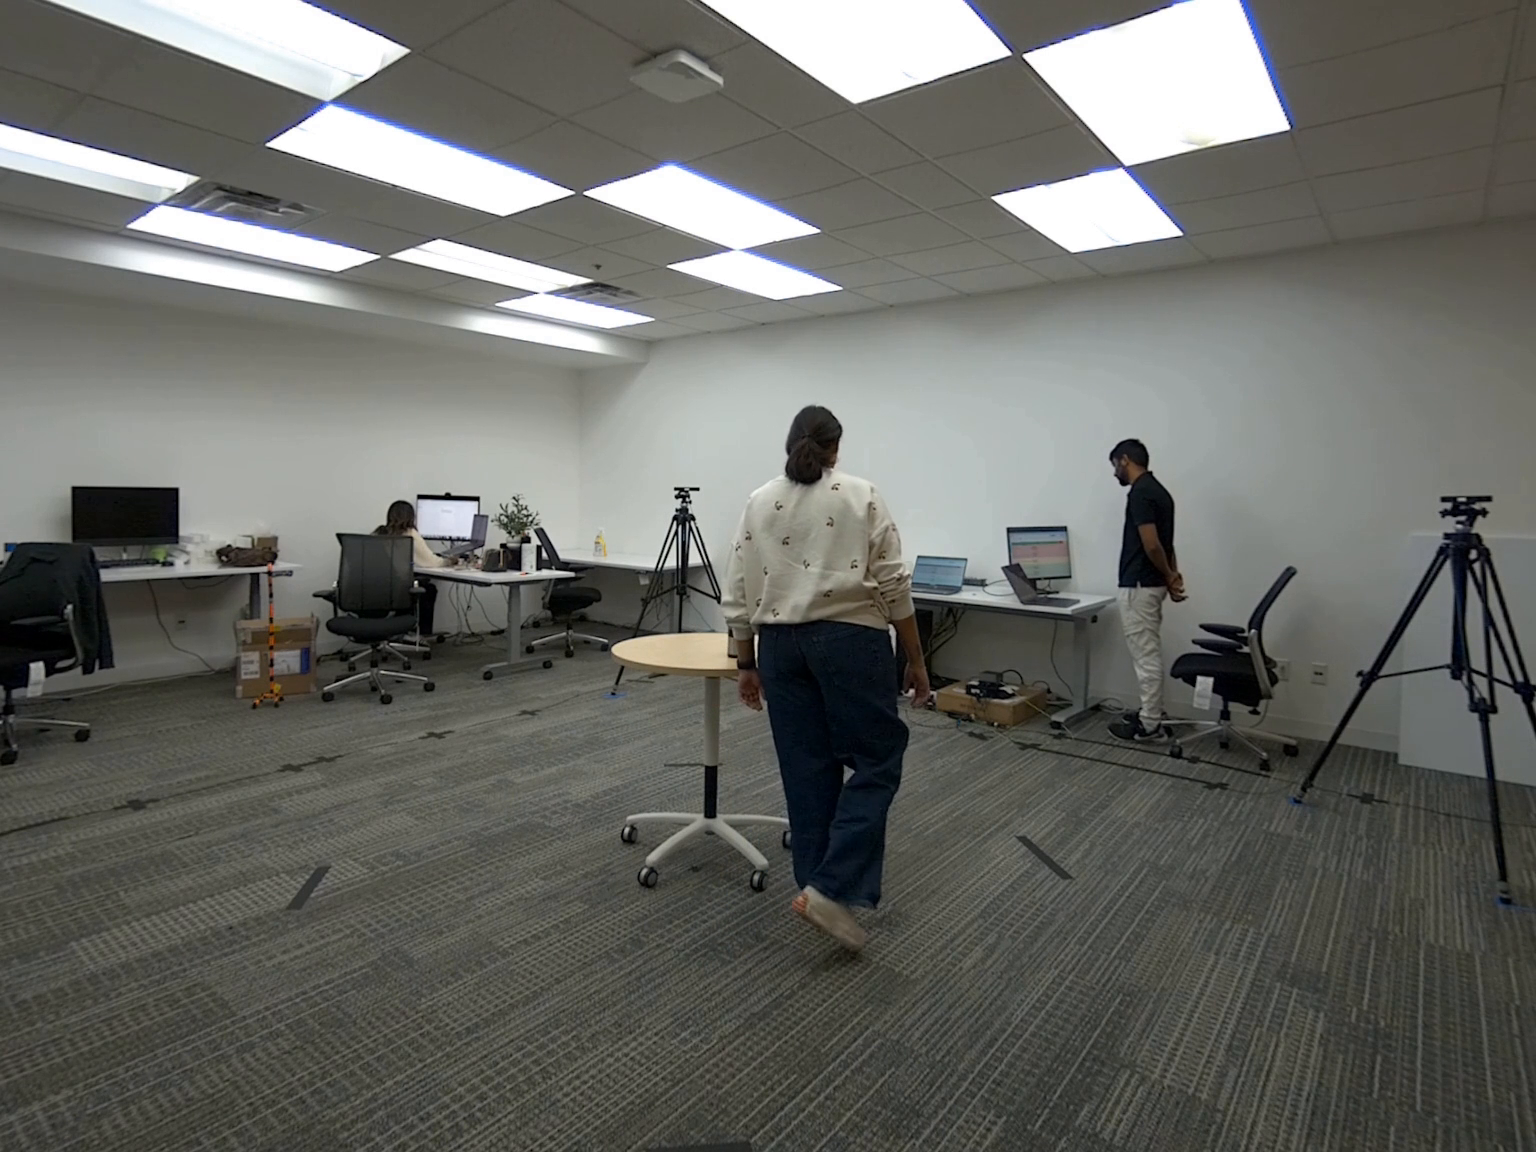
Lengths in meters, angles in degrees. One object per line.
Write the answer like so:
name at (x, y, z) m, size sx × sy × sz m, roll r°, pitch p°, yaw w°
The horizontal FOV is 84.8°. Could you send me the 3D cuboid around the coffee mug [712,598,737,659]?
coffee mug at (-0.137, 0.187, 3.058) m, size 0.121 × 0.202 × 0.089 m, roll 1°, pitch 5°, yaw -10°
